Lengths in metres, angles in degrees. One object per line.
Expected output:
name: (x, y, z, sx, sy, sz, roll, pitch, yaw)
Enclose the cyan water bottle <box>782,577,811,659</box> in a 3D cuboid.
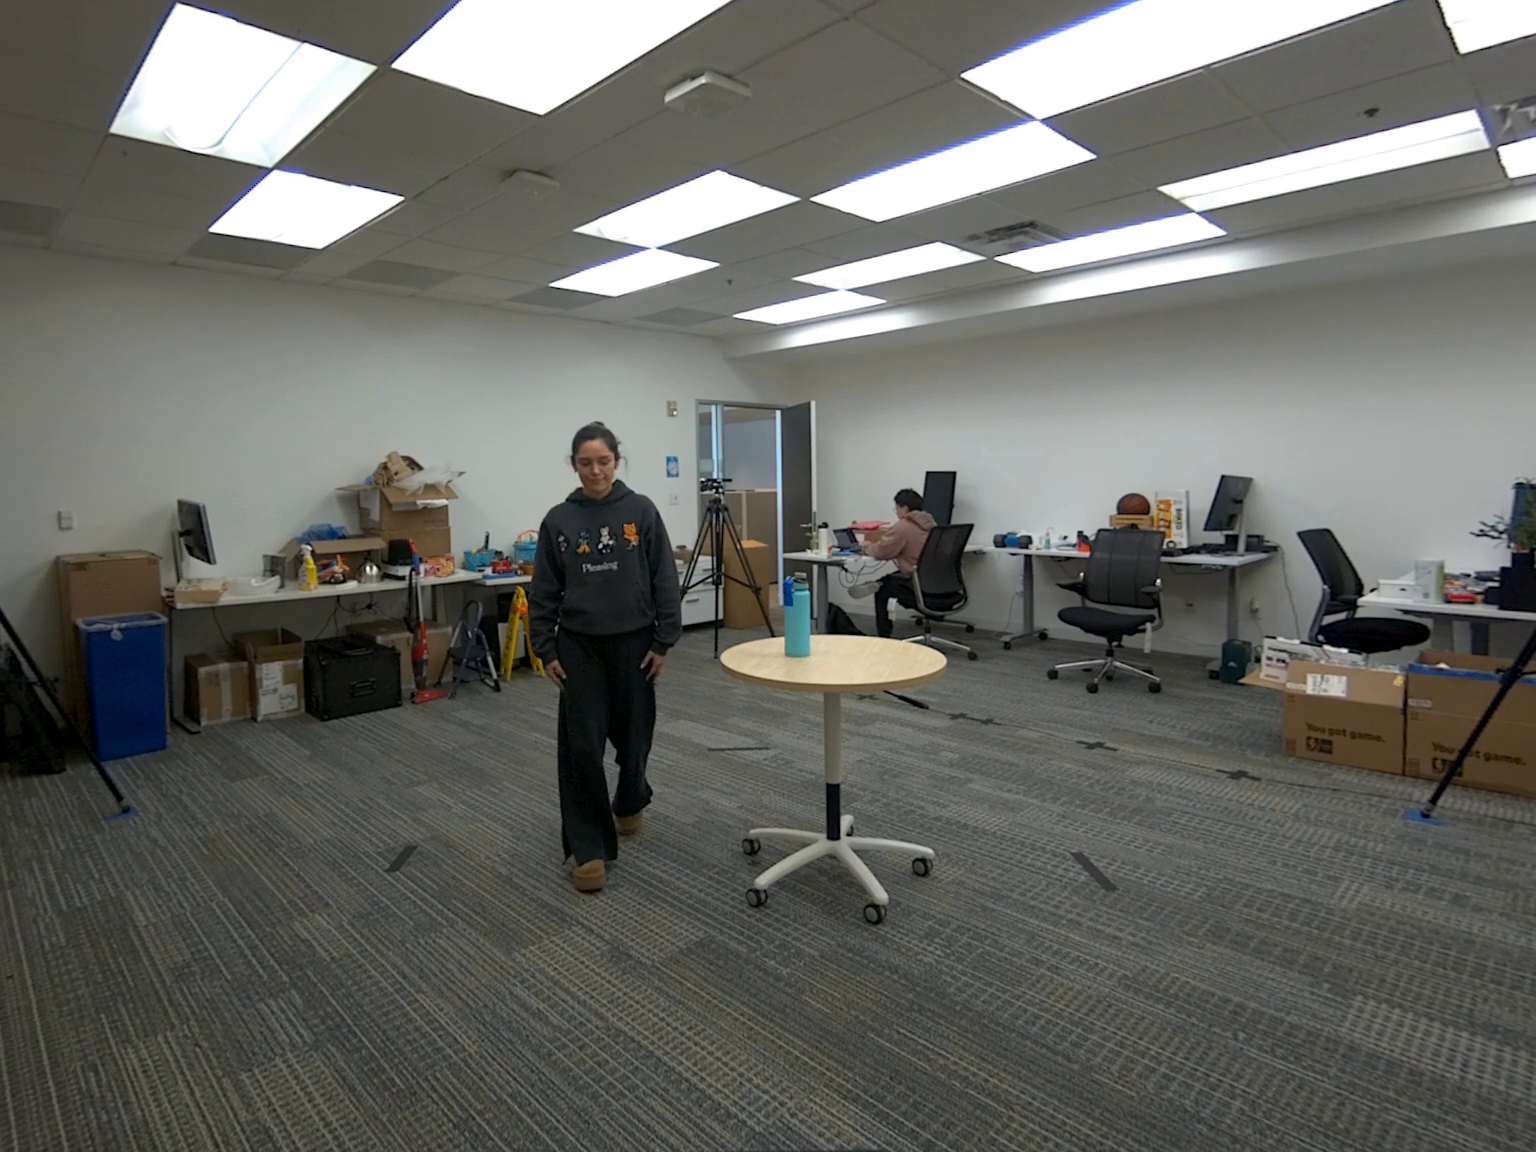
cyan water bottle: (0.100, 0.136, 2.949, 0.092, 0.282, 0.093, -3, 4, -1)
